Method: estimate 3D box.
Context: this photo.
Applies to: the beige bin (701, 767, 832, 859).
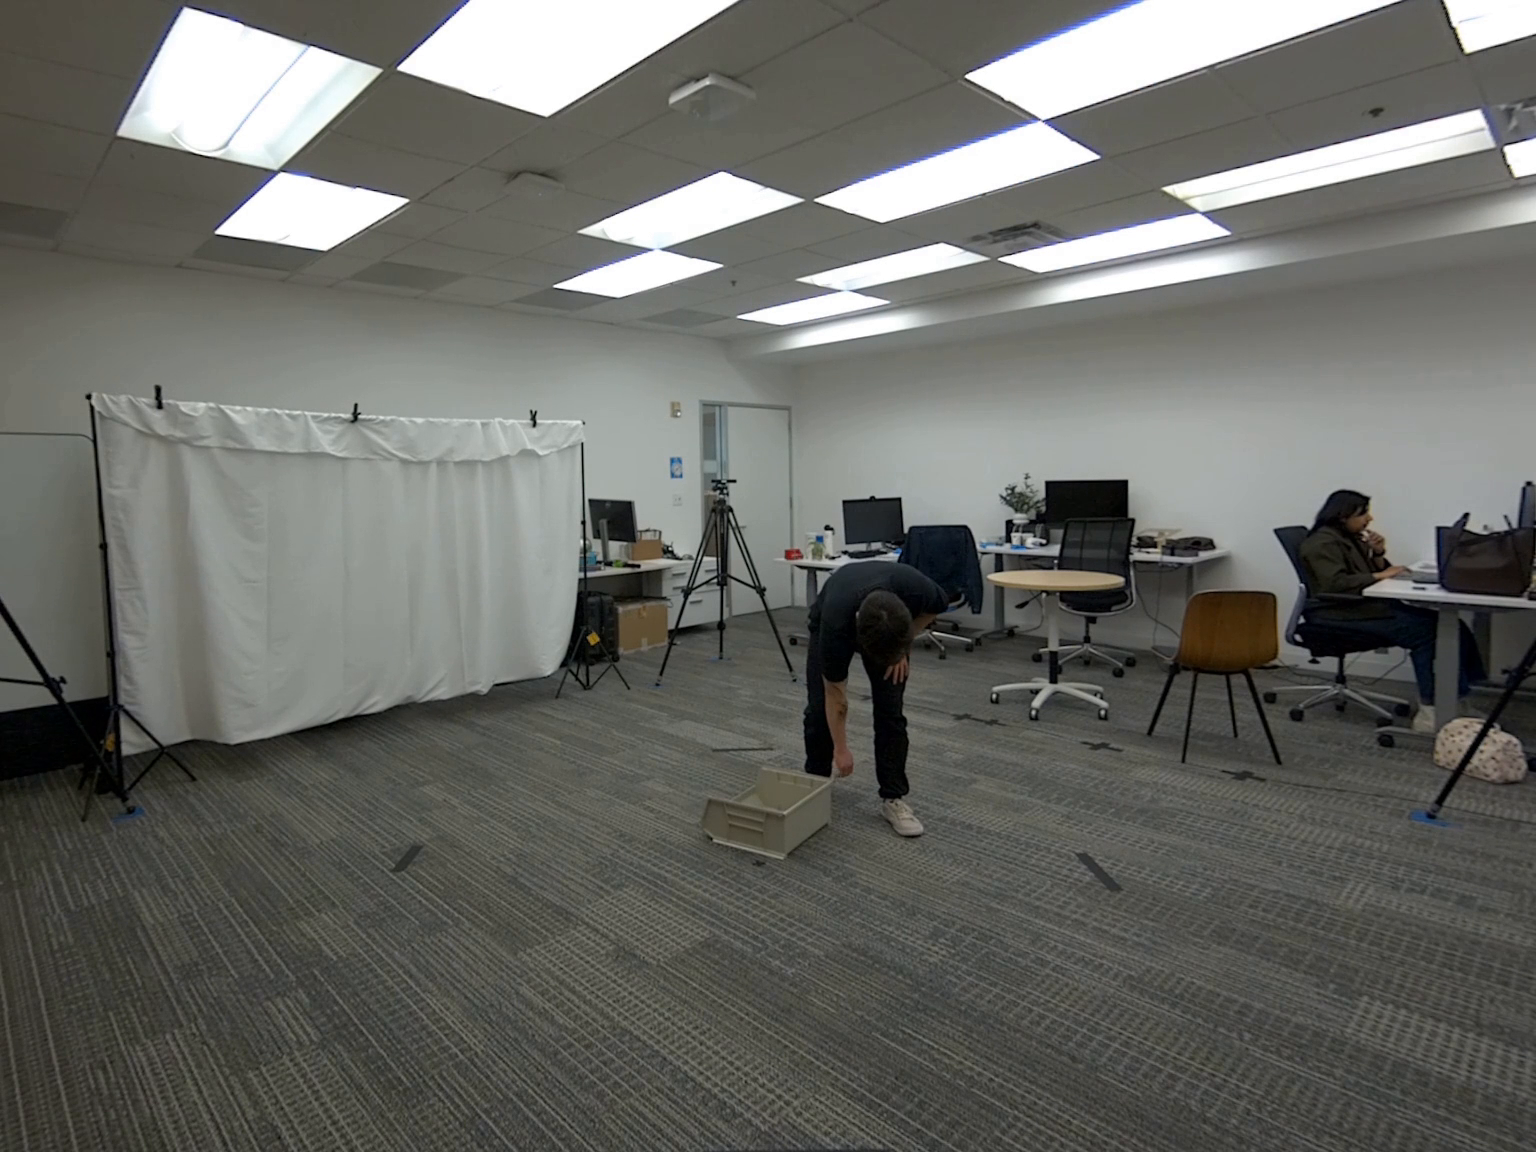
[{"bbox_3d":[0.005,0.928,3.393,0.388,0.188,0.412,4,6,31],"label":"beige bin"}]
